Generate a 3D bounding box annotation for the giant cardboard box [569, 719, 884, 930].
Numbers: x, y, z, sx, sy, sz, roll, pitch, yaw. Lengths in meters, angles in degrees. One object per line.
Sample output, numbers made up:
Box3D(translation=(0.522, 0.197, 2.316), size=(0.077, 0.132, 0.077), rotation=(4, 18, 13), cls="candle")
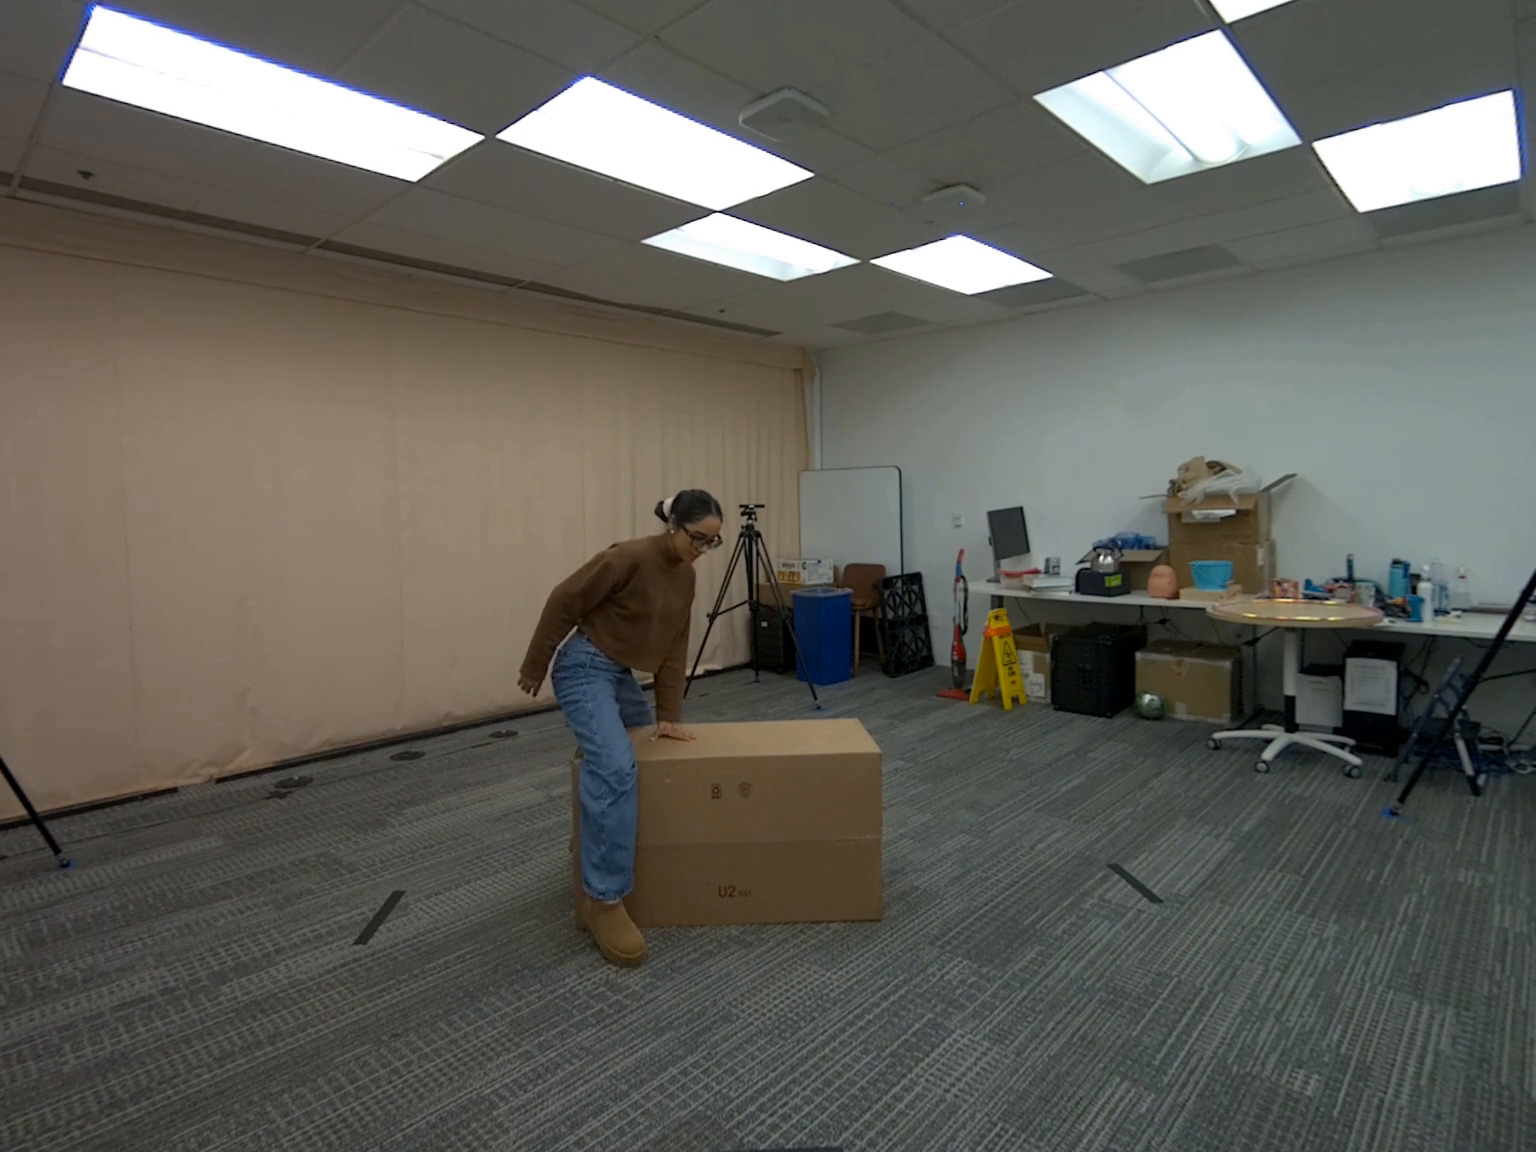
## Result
Box3D(translation=(-0.141, 0.861, 2.979), size=(1.026, 0.582, 0.449), rotation=(-1, 5, -1), cls="giant cardboard box")
